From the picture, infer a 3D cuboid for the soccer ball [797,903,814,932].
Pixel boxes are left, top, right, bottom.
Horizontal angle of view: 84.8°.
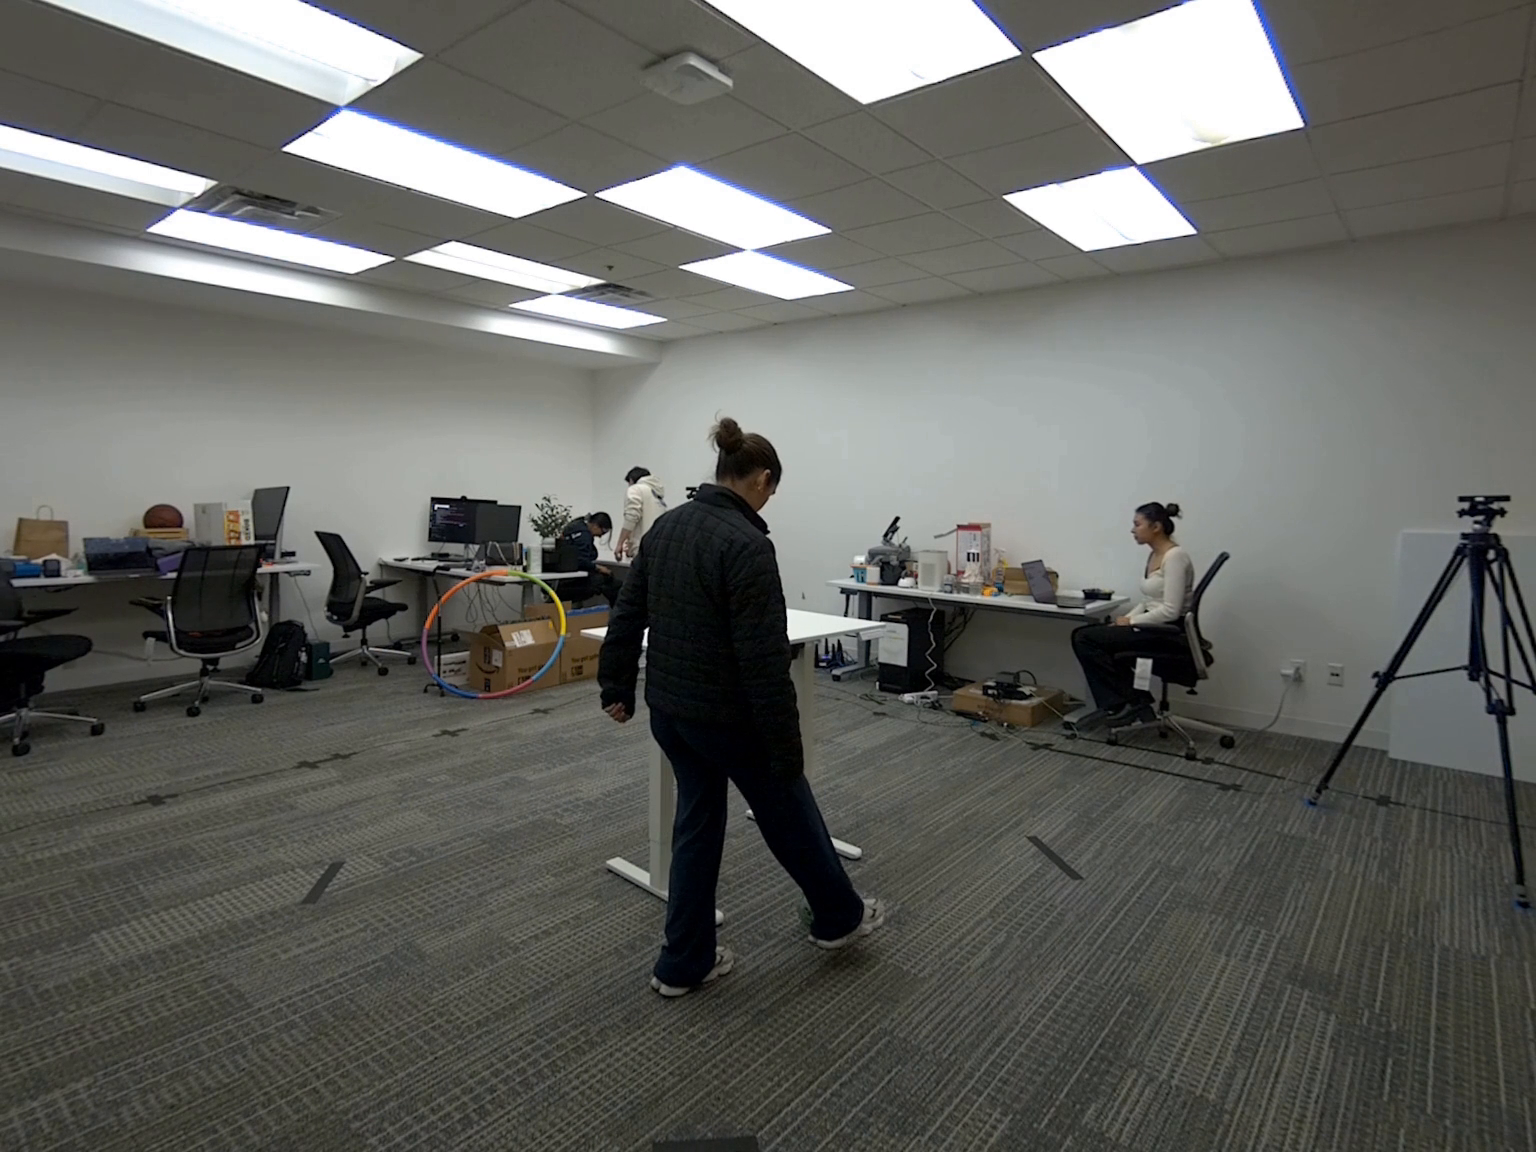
[{"bbox_3d":[0.160,1.019,2.675,0.187,0.187,0.188,1,4,-2],"label":"soccer ball"}]
